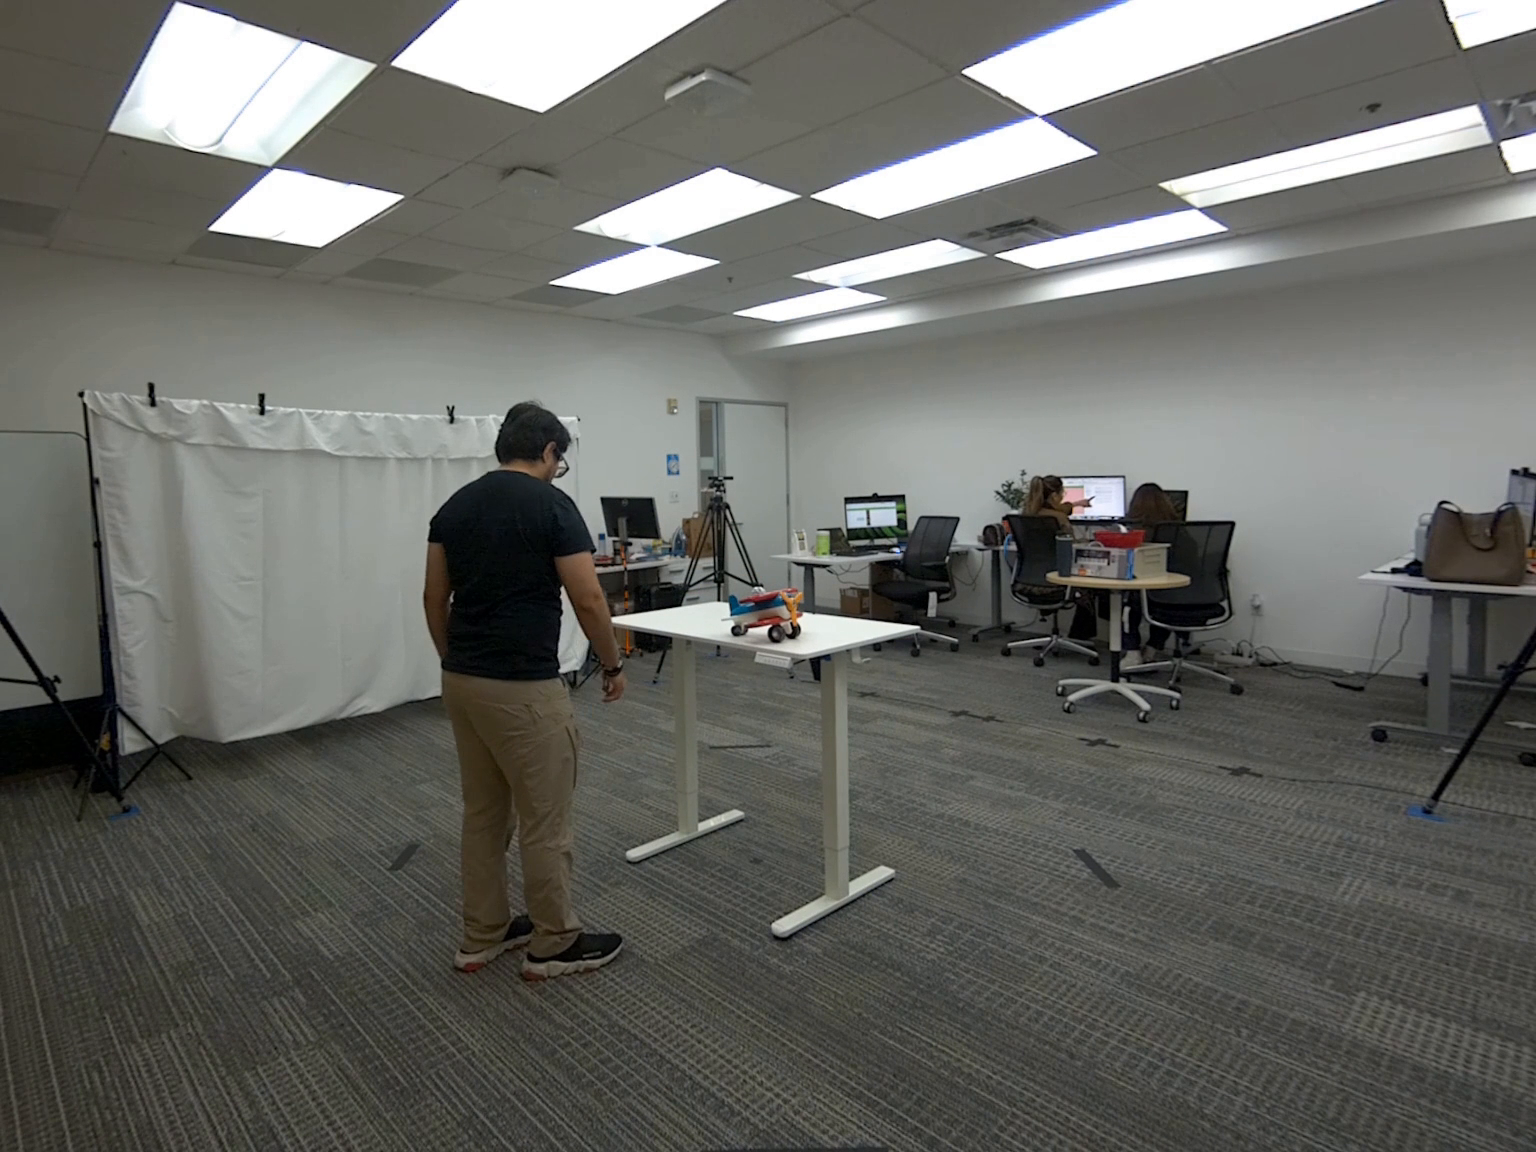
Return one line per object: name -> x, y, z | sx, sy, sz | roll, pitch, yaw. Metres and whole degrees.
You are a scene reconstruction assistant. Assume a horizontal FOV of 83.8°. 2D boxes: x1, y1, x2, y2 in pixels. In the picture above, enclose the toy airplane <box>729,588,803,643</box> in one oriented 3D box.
toy airplane -> -0.022, 0.121, 2.685 | 0.262, 0.156, 0.249 | 1, 4, 10
